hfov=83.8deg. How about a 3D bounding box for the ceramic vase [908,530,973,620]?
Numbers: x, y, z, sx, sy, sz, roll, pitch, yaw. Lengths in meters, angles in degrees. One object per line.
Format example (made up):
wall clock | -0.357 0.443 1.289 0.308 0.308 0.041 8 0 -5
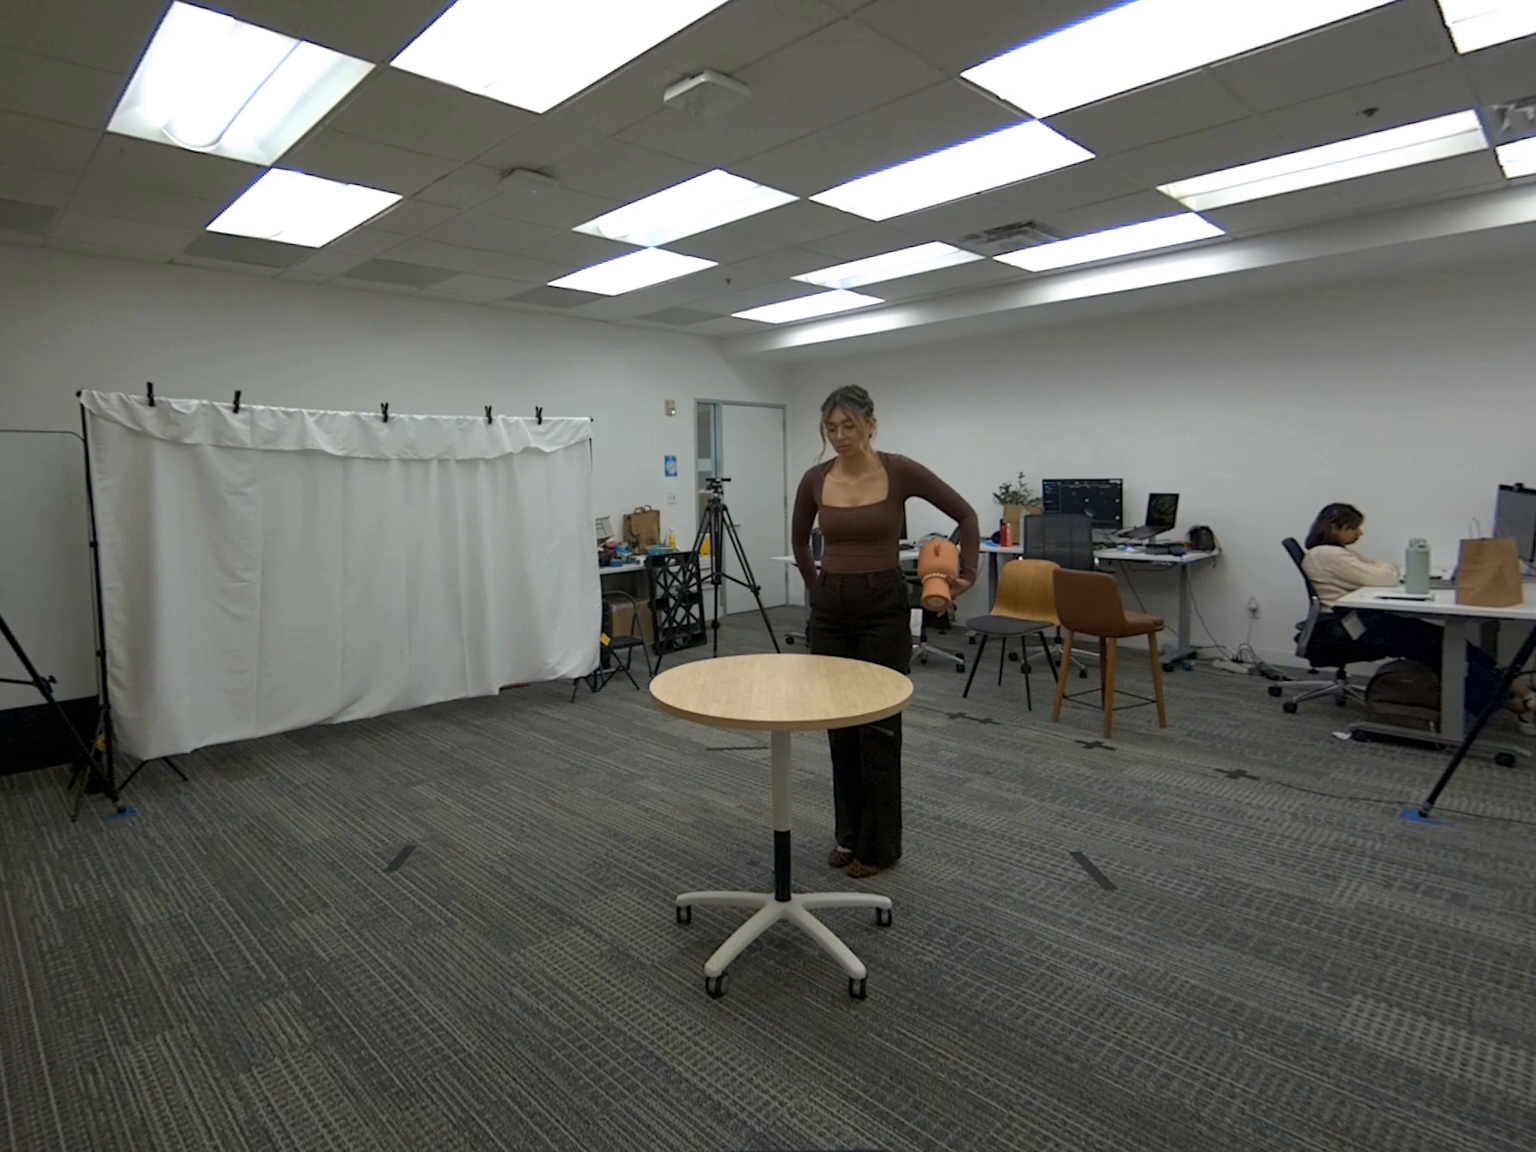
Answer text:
ceramic vase | 0.583 -0.005 2.901 0.154 0.224 0.136 30 -40 -25
